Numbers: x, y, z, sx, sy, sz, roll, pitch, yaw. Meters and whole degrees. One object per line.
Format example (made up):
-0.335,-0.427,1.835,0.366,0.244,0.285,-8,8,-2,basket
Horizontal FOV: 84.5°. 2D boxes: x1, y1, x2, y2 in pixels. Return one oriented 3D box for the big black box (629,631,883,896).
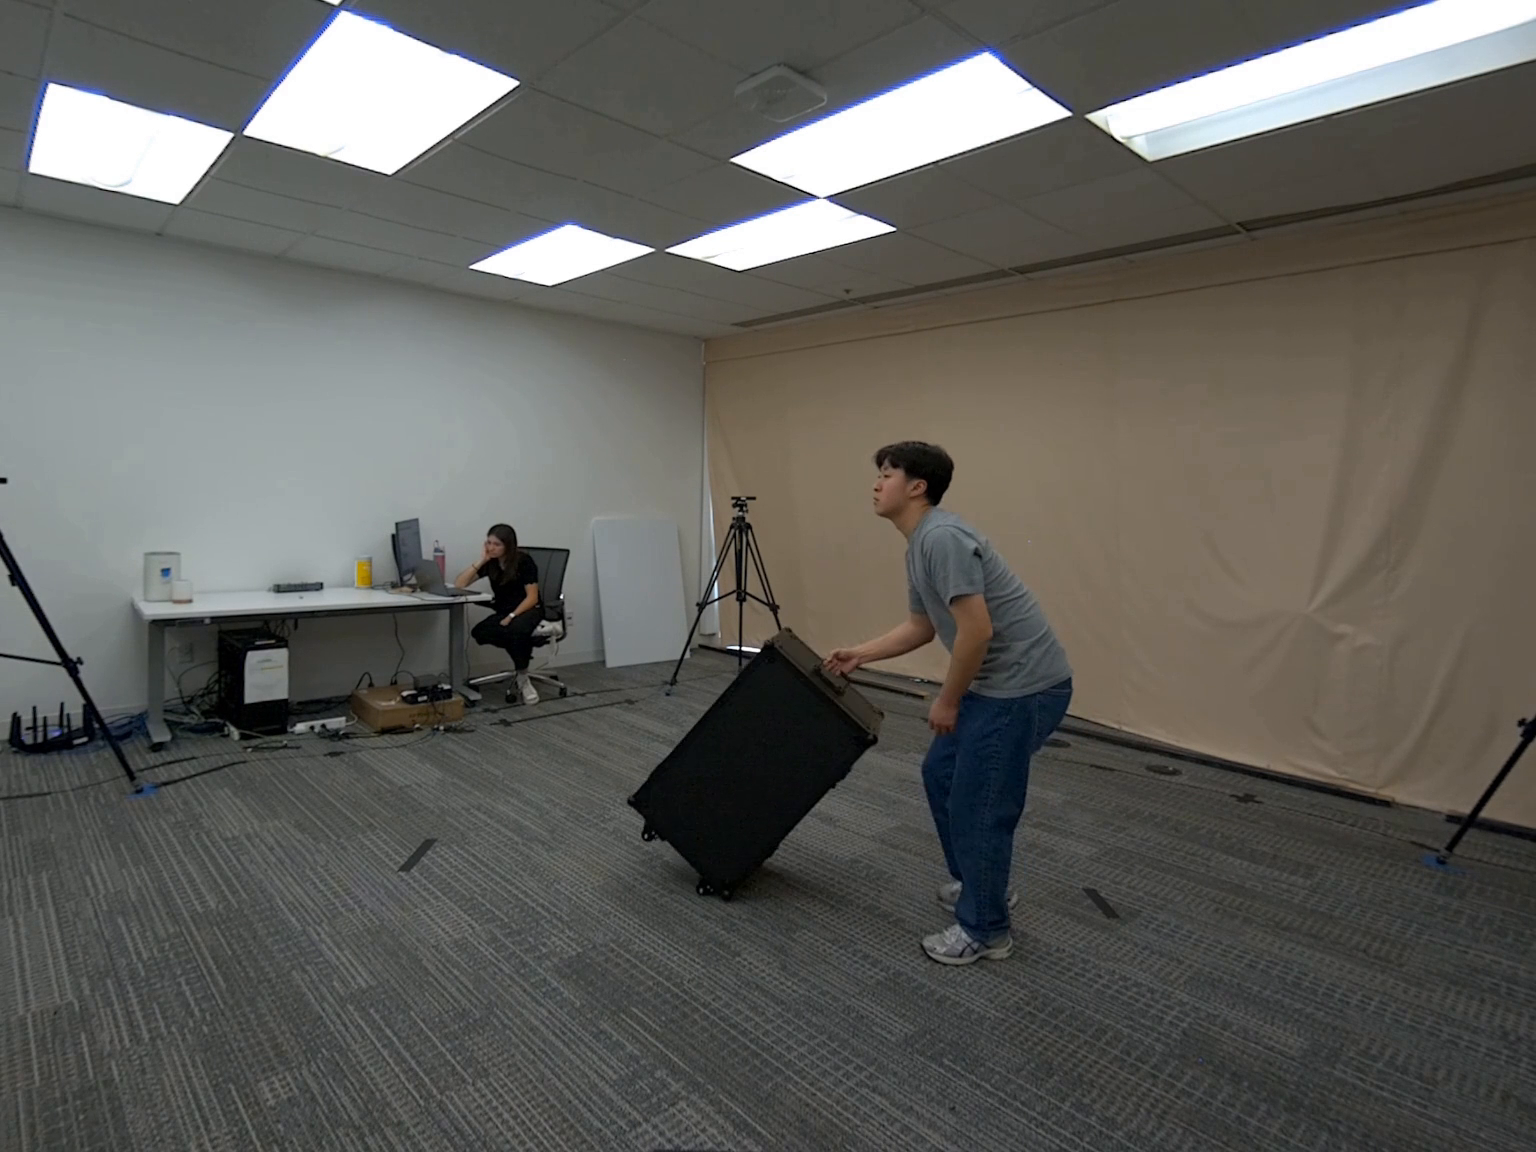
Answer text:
-0.017,0.652,3.028,0.526,0.861,0.393,43,12,7,big black box
